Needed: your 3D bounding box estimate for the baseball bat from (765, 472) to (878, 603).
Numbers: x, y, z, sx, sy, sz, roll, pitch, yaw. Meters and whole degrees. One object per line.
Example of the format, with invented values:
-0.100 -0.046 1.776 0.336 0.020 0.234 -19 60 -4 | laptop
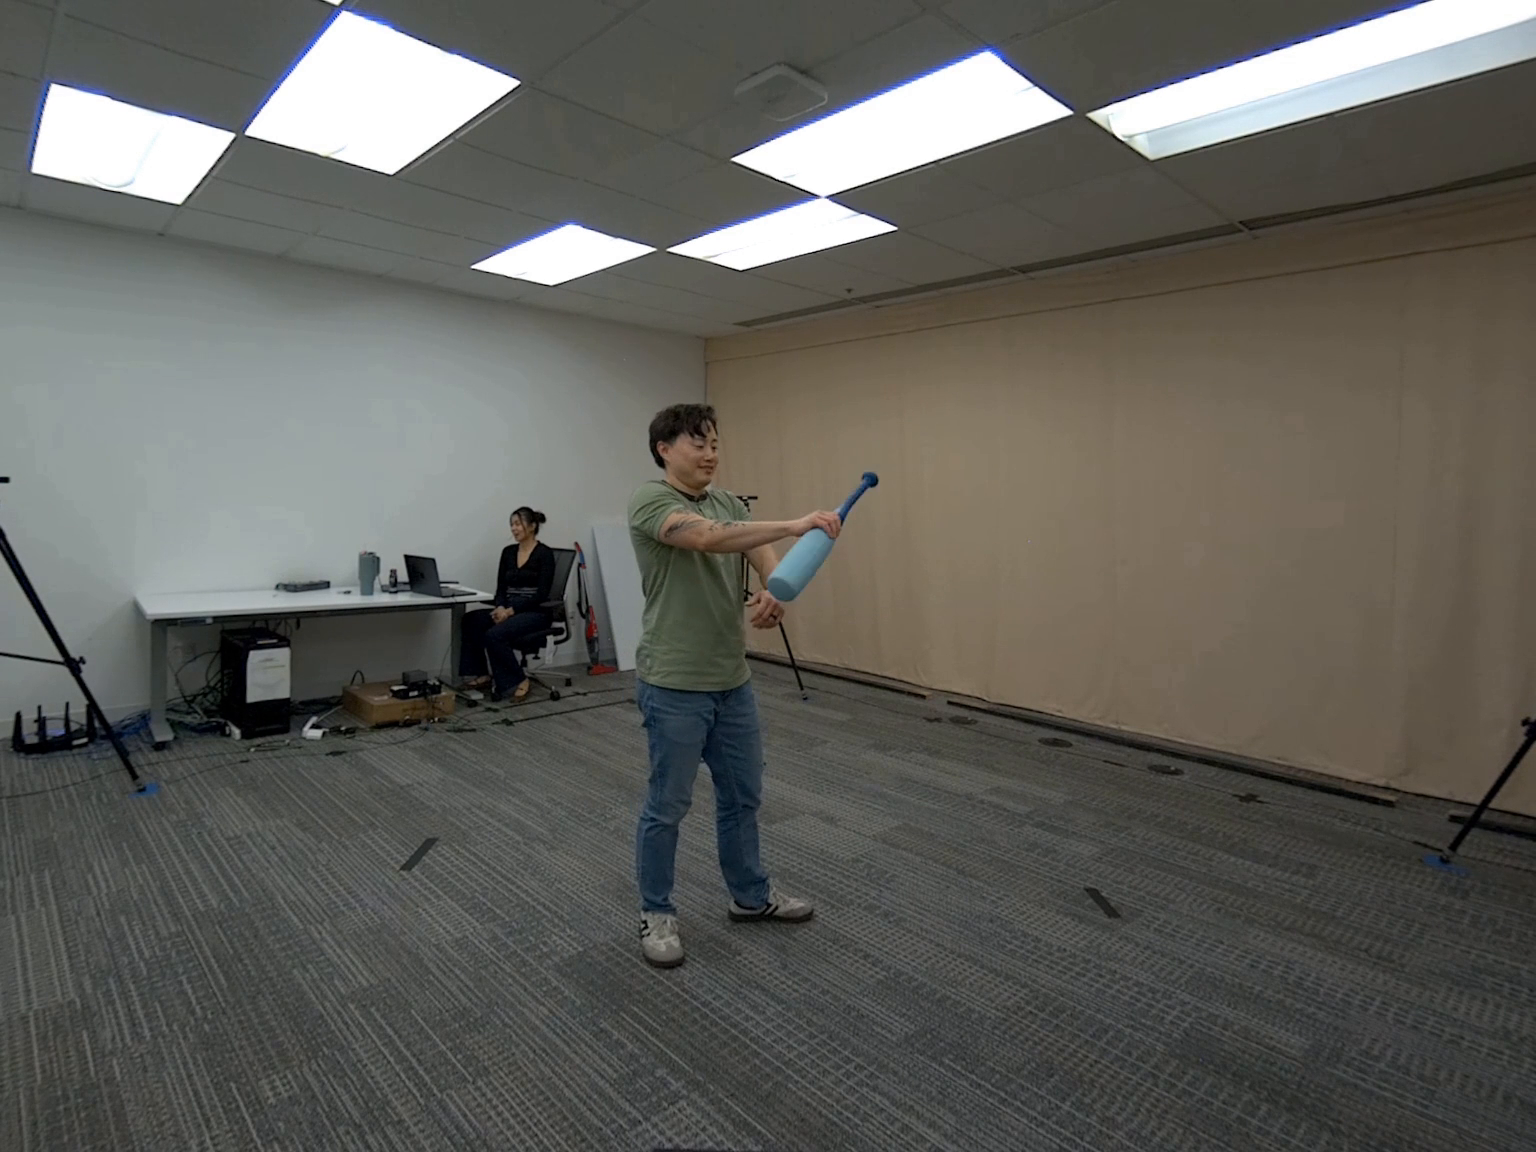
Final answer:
0.153 -0.118 2.251 0.091 0.087 0.543 4 38 36 | baseball bat
